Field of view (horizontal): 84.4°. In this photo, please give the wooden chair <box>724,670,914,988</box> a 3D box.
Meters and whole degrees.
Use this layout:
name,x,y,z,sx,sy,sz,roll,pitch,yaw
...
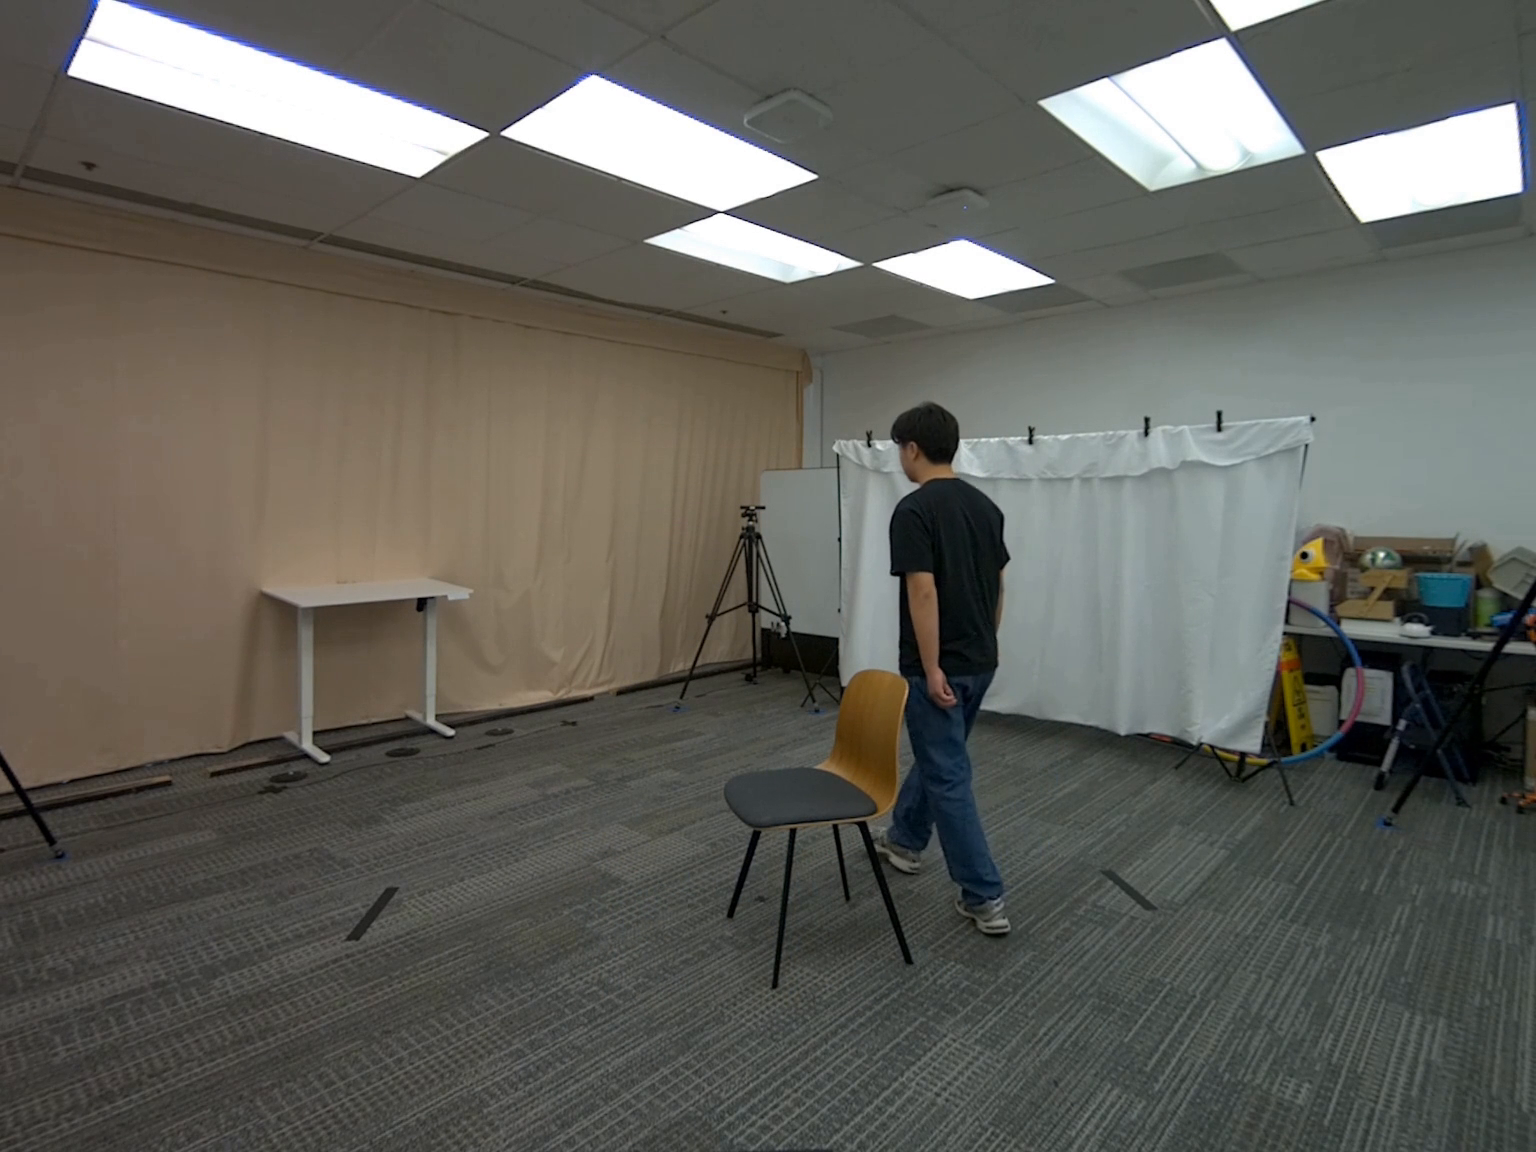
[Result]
name,x,y,z,sx,sy,sz,roll,pitch,yaw
wooden chair,0.148,0.743,2.670,0.513,0.876,0.488,3,3,-18
